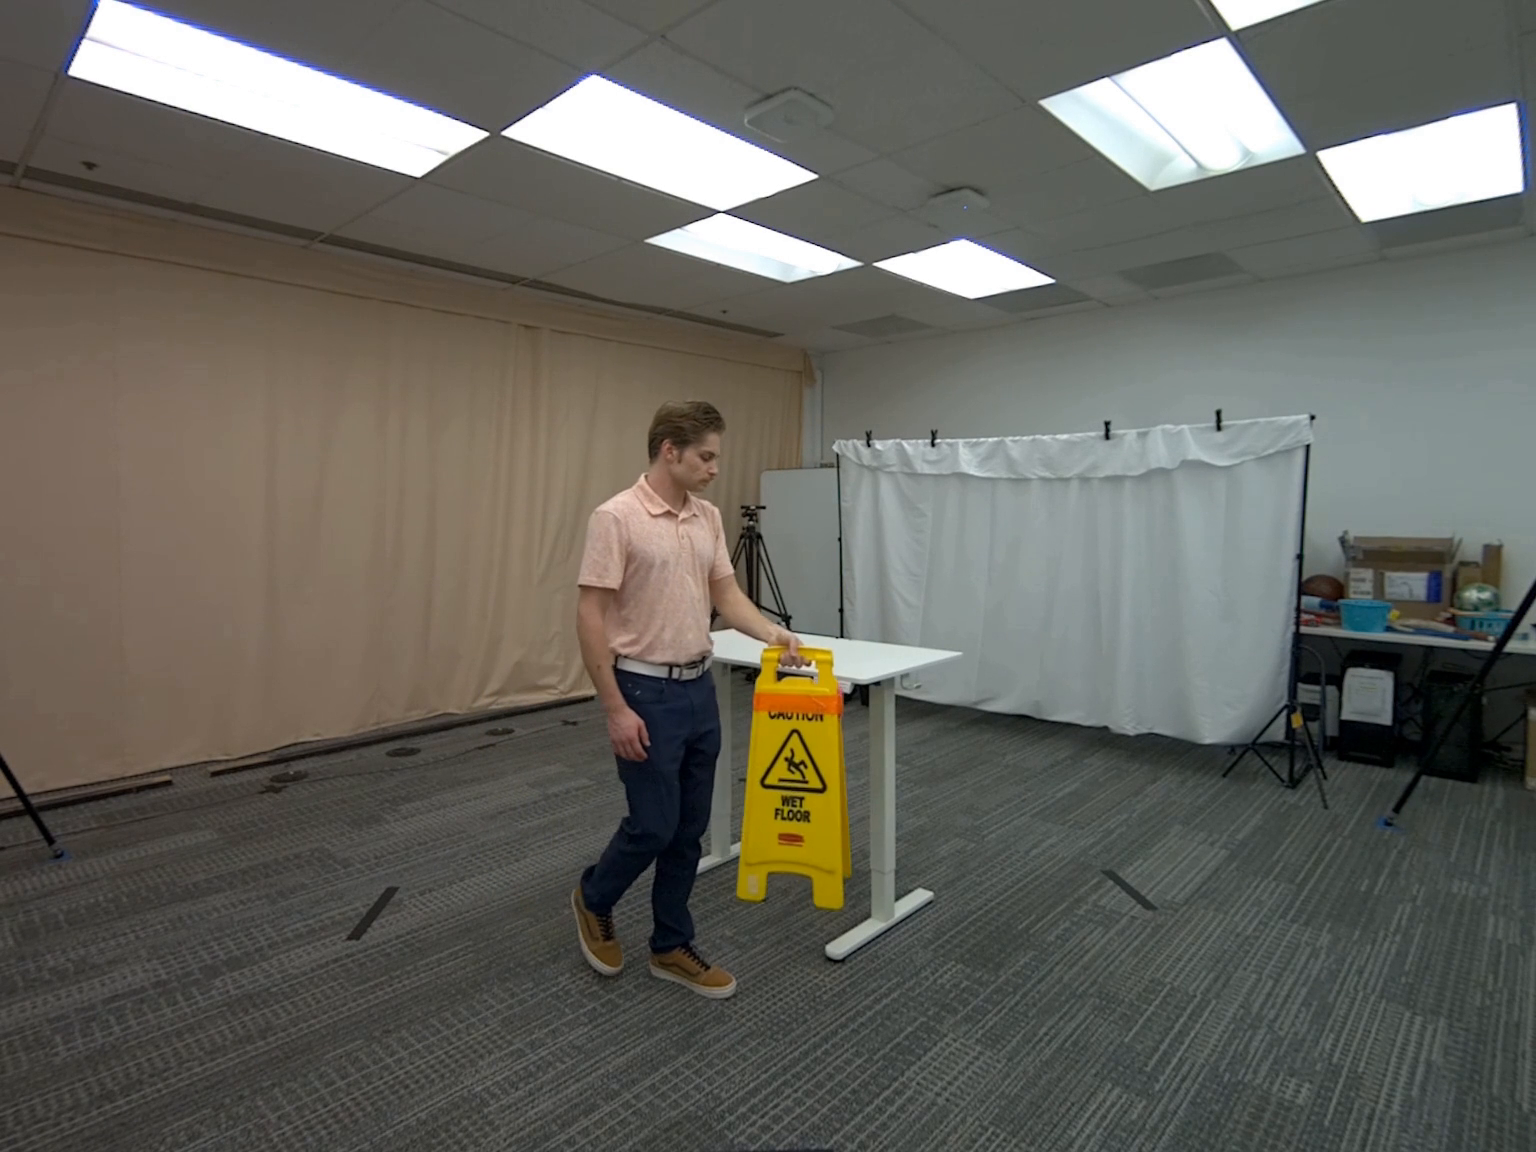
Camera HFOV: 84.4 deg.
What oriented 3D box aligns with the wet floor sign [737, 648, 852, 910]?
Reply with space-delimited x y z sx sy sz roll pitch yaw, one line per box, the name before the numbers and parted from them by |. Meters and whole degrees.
wet floor sign | 0.088 0.525 2.282 0.286 0.647 0.286 -1 -1 10
